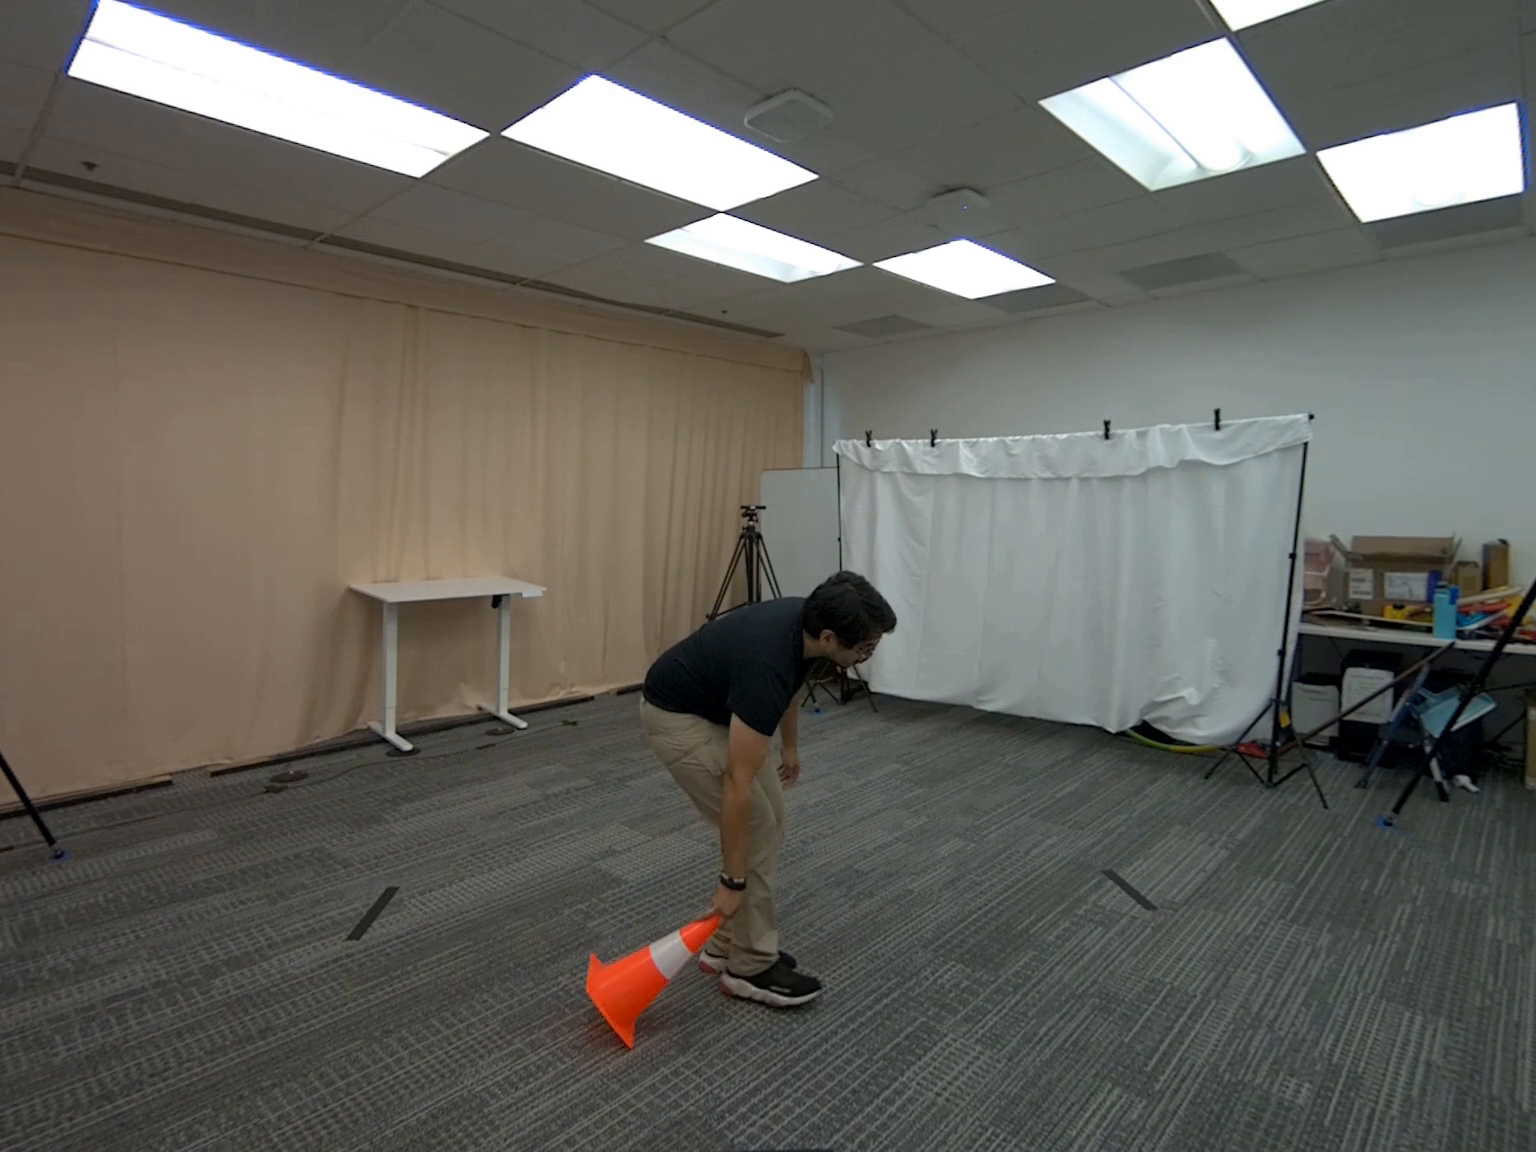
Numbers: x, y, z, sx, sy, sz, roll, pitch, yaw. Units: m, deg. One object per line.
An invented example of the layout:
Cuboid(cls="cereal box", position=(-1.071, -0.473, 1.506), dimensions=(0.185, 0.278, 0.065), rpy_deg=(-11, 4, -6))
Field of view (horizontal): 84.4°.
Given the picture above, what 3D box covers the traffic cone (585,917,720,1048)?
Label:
Cuboid(cls="traffic cone", position=(-0.272, 1.019, 2.237), dimensions=(0.384, 0.204, 0.204), rpy_deg=(-37, 6, 0))
